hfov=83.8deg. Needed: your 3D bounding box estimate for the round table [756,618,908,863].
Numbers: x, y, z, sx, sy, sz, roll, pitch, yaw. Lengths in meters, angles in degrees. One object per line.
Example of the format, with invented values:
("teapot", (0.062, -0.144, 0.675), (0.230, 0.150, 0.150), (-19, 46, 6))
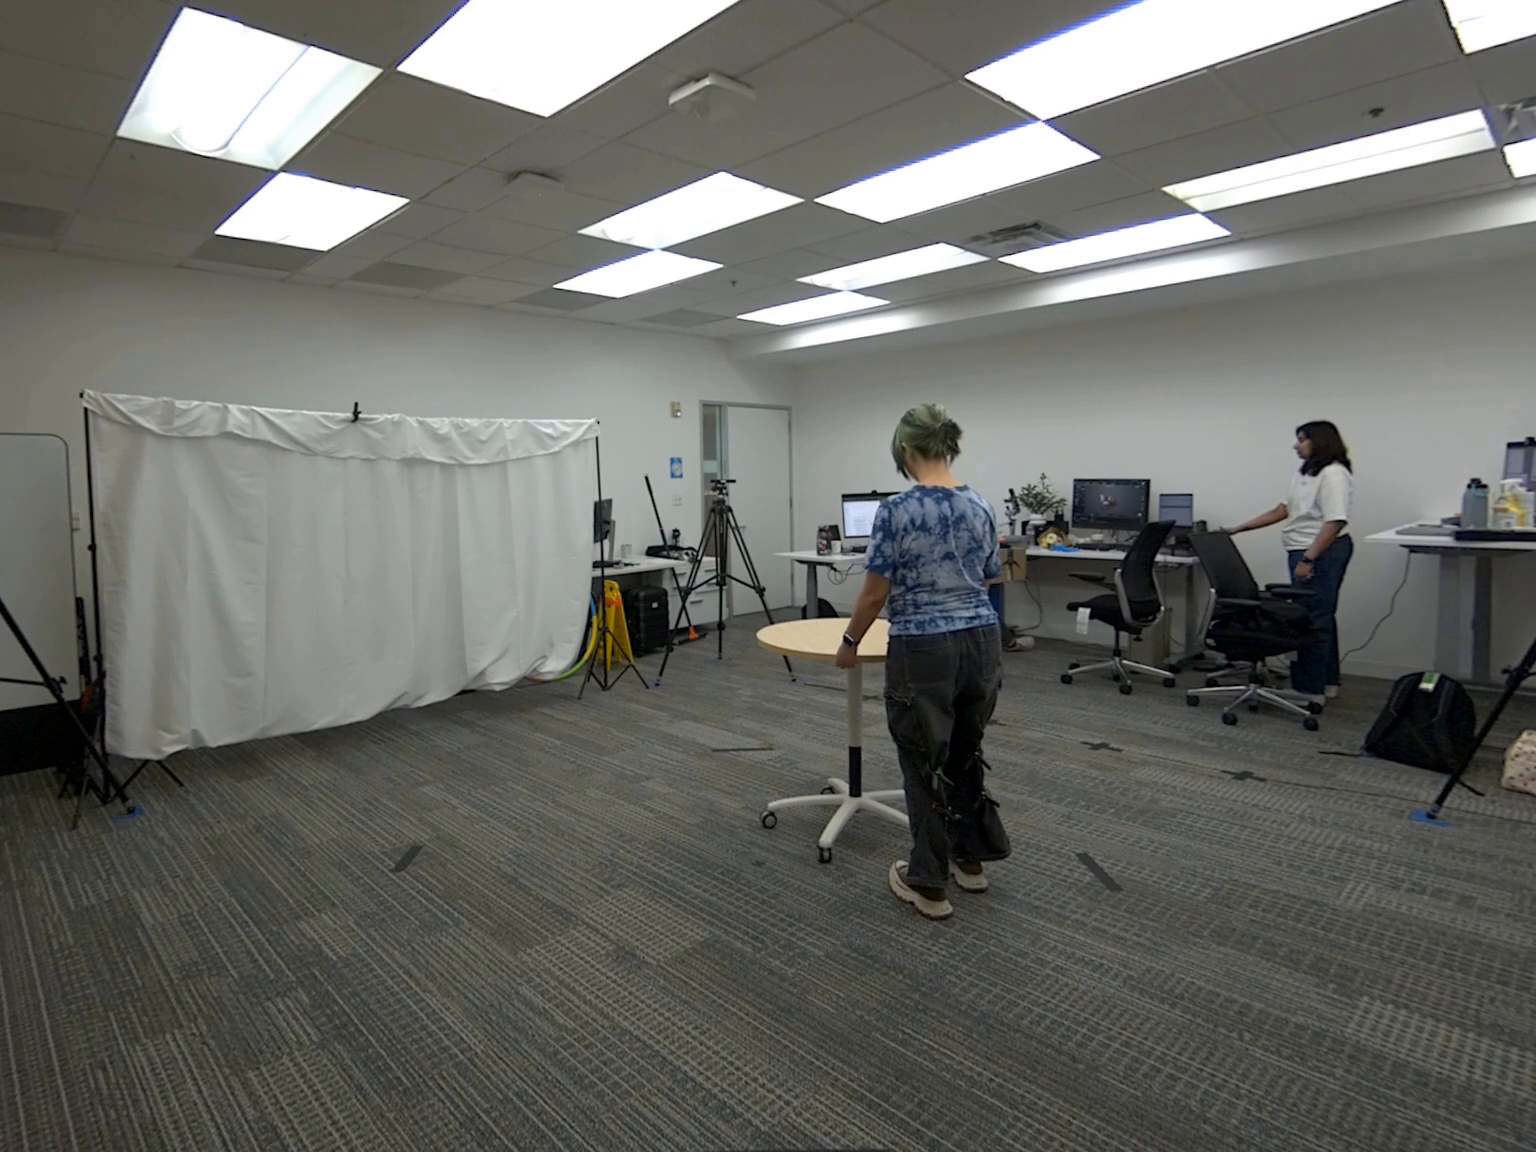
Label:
("round table", (0.337, 0.620, 3.365), (0.763, 0.791, 0.768), (-1, 5, -2))
